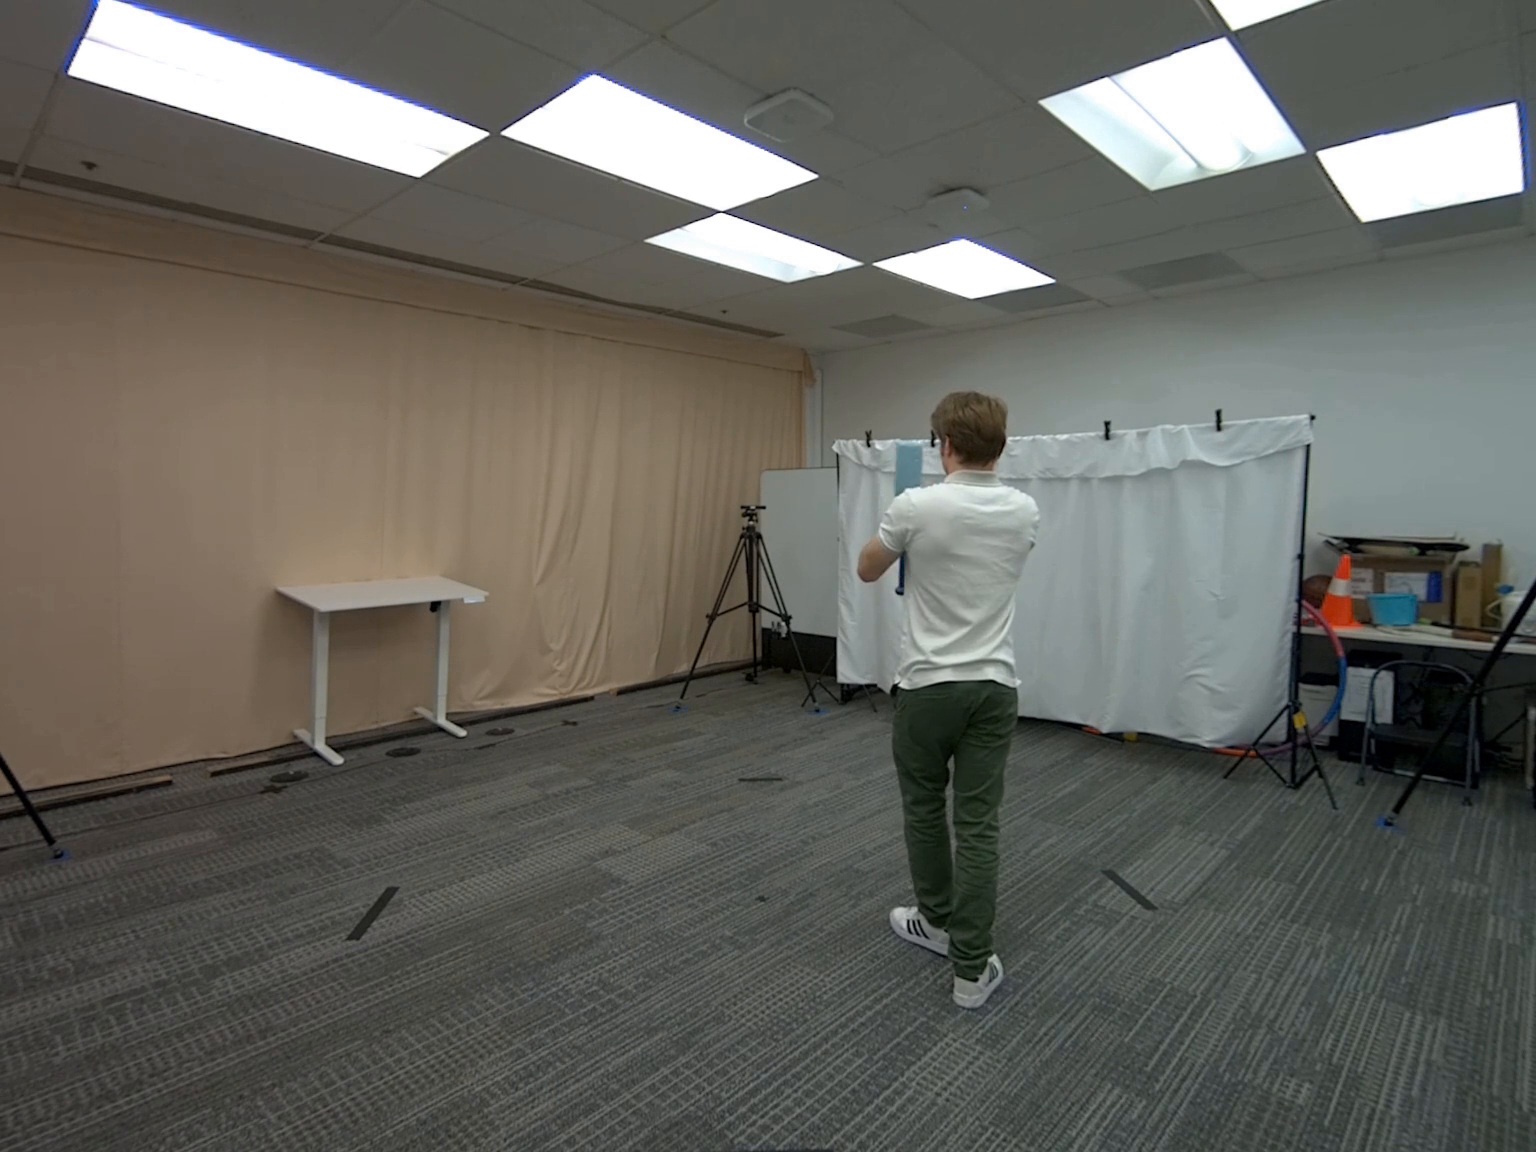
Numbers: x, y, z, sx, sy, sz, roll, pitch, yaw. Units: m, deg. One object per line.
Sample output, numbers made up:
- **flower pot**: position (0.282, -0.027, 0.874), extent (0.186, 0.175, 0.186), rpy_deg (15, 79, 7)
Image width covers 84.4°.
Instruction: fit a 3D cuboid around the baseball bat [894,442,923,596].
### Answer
- **baseball bat**: position (0.480, -0.191, 2.897), extent (0.089, 0.538, 0.090), rpy_deg (1, 16, -2)
